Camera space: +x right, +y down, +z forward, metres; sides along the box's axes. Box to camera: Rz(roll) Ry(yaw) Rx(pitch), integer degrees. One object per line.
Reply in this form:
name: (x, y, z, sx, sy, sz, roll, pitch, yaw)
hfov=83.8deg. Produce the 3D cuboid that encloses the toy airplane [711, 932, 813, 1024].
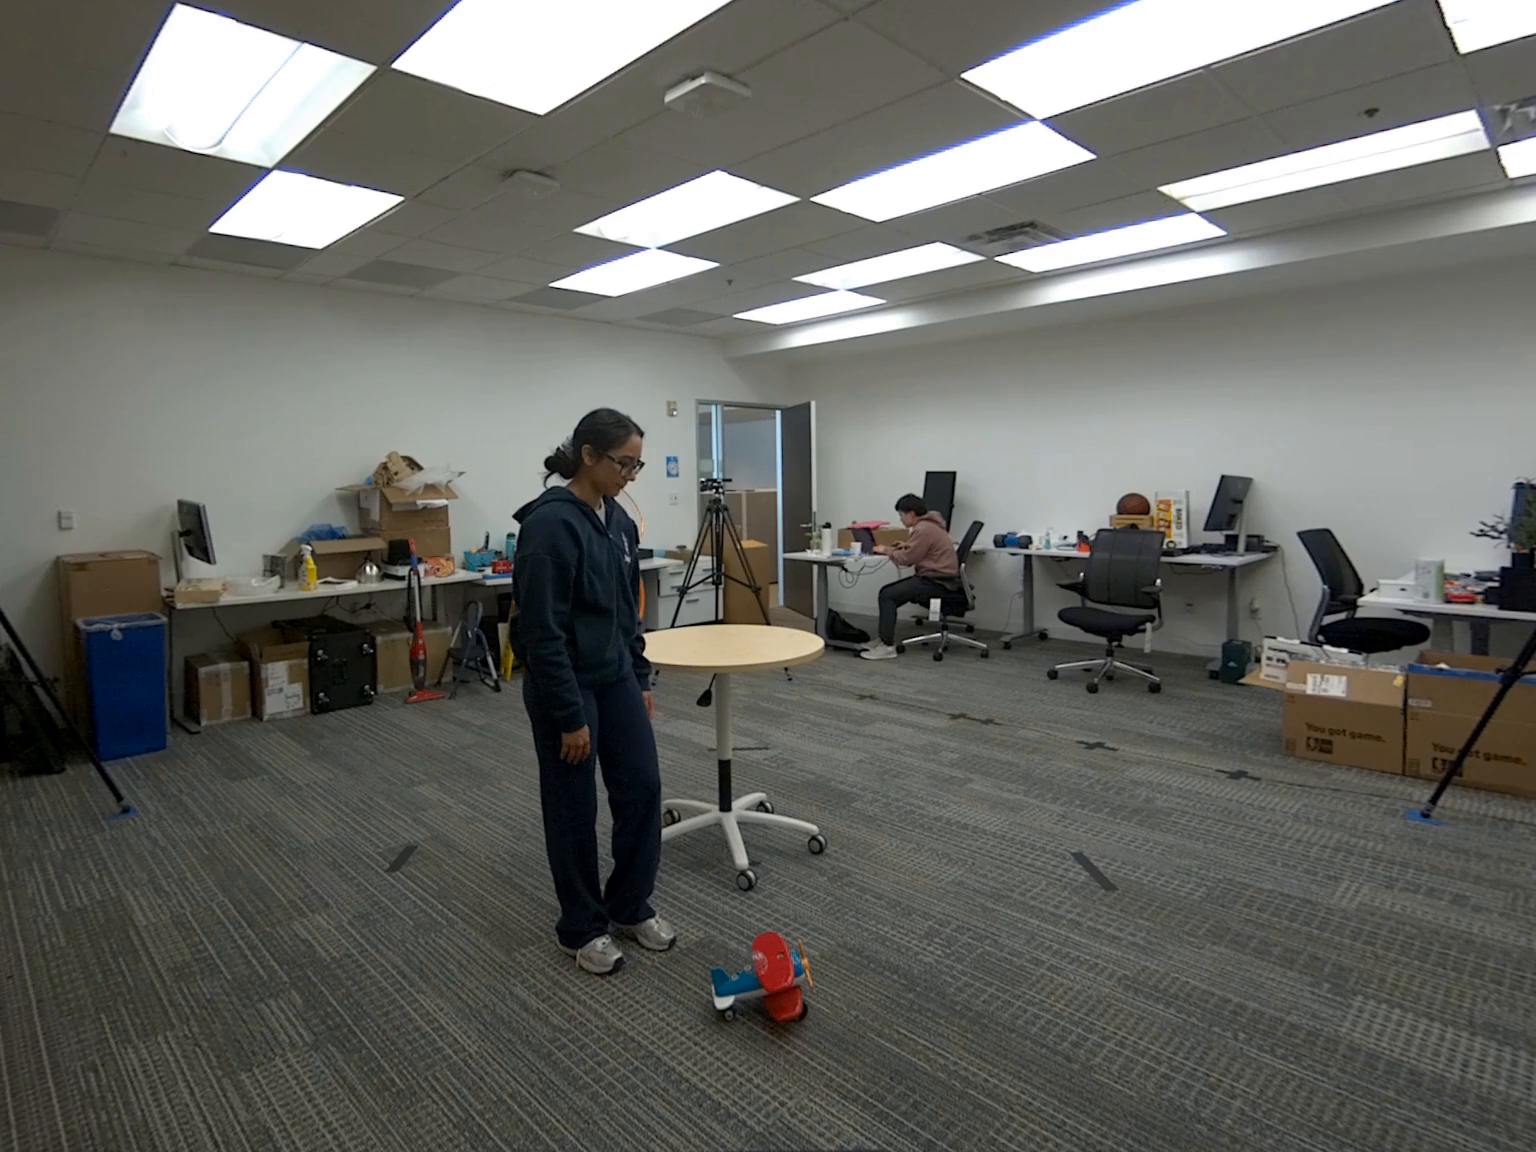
toy airplane: (-0.006, 1.073, 2.217, 0.252, 0.156, 0.258, -5, 5, -37)
